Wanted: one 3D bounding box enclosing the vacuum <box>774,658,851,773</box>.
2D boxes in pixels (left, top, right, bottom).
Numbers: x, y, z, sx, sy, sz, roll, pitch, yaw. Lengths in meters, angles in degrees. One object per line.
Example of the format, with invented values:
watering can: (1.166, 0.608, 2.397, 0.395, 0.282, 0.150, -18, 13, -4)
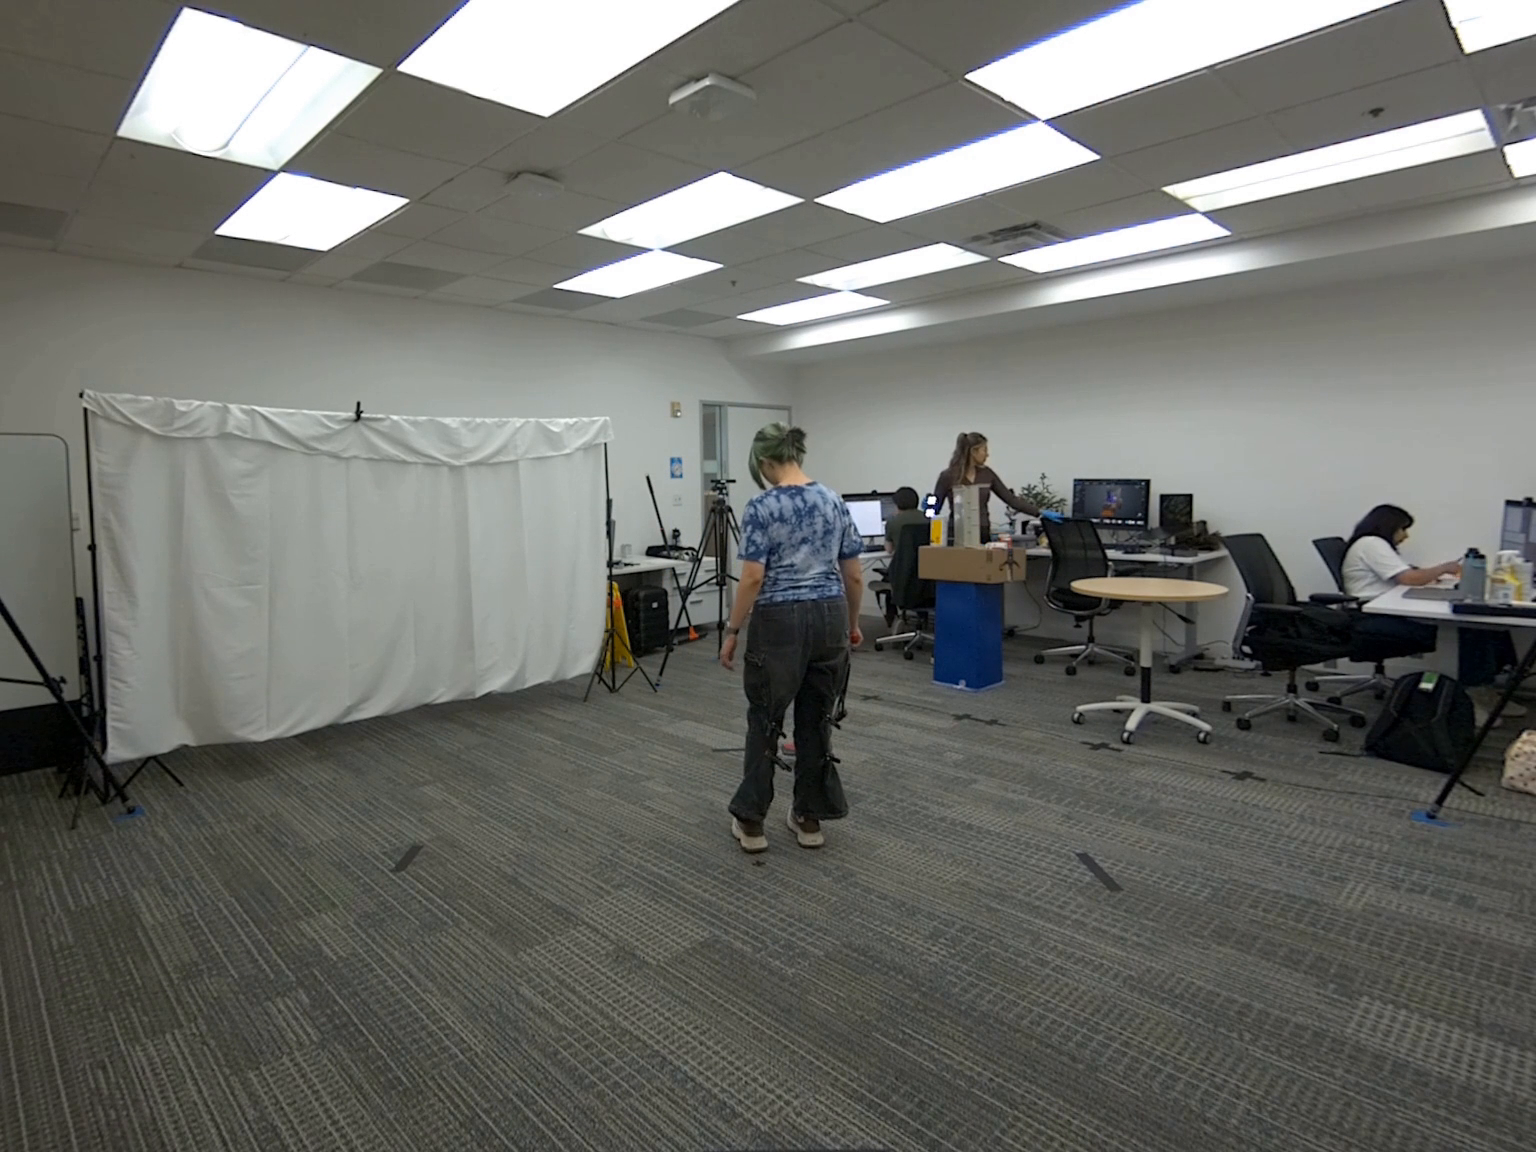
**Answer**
vacuum: (0.272, 0.579, 3.805, 0.250, 0.148, 1.028, -2, -37, -12)
